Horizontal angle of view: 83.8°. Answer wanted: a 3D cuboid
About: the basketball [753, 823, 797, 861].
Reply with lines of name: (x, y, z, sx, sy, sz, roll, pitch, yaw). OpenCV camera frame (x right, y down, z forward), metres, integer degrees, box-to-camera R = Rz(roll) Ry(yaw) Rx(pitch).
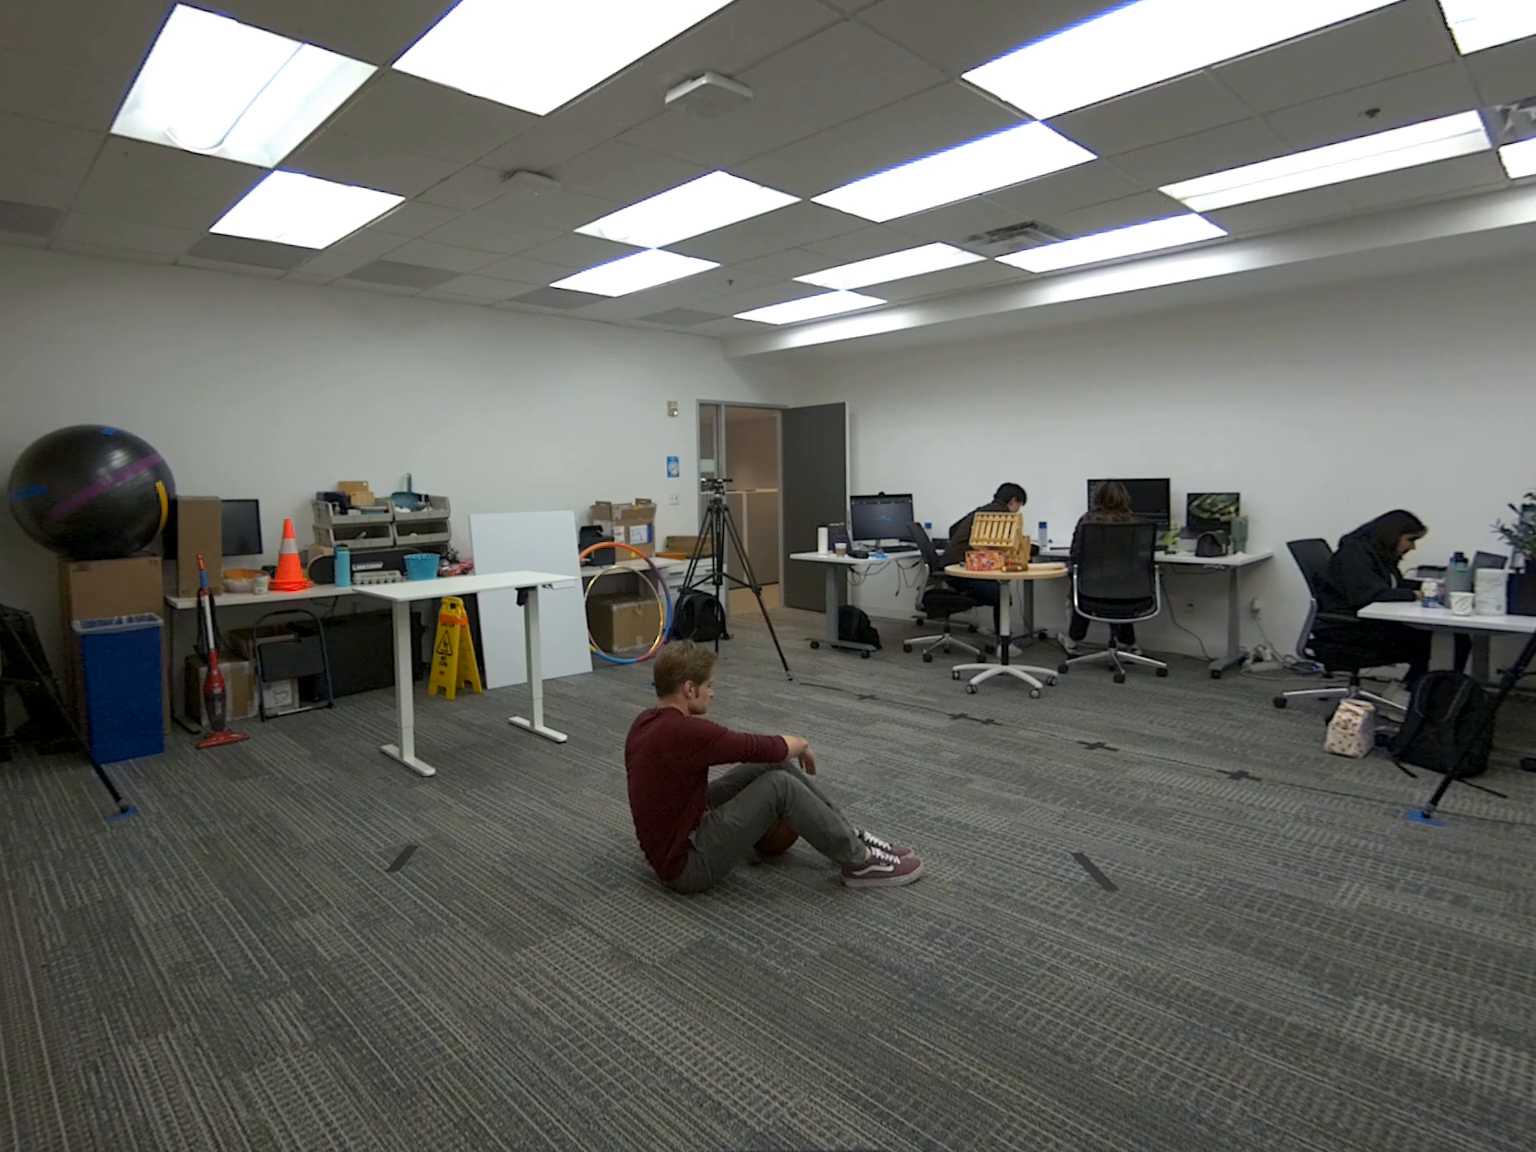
basketball: (0.011, 0.914, 3.203, 0.236, 0.235, 0.237, -1, 5, -2)
